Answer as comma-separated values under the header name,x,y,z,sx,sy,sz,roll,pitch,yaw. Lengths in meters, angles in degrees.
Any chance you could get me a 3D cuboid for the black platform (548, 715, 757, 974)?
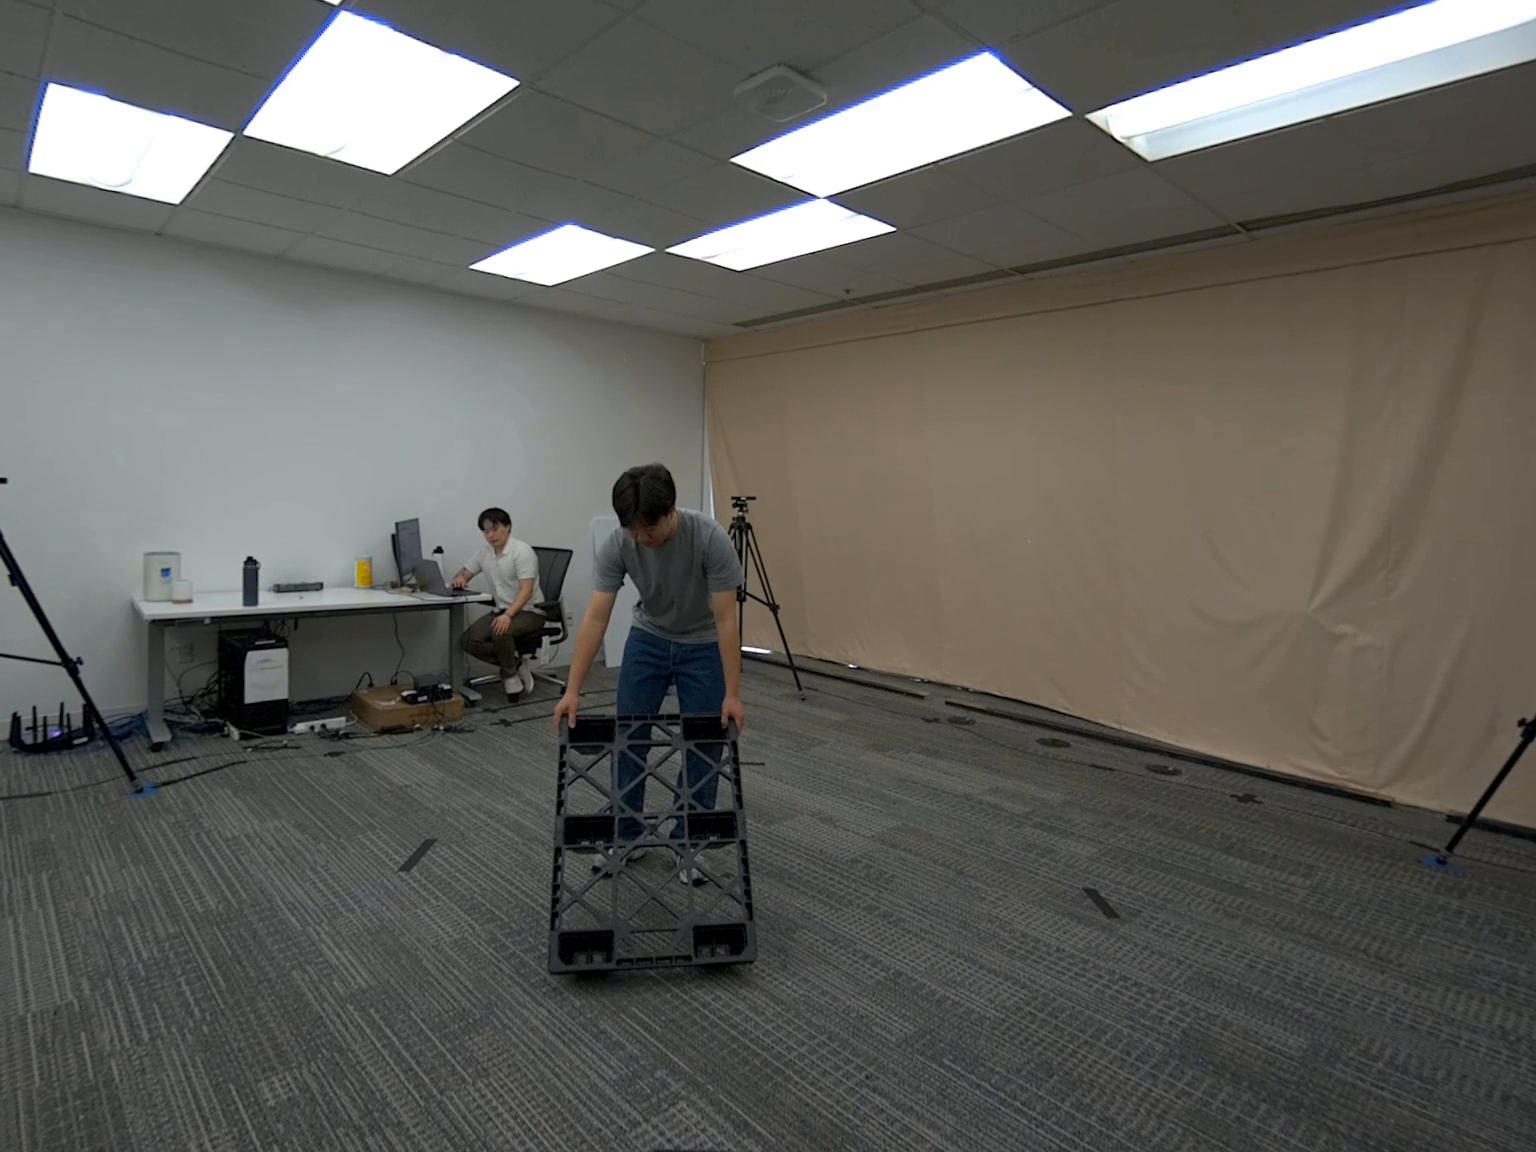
name,x,y,z,sx,sy,sz,roll,pitch,yaw
black platform,-0.384,0.836,2.678,0.601,0.825,0.141,0,-40,-8
